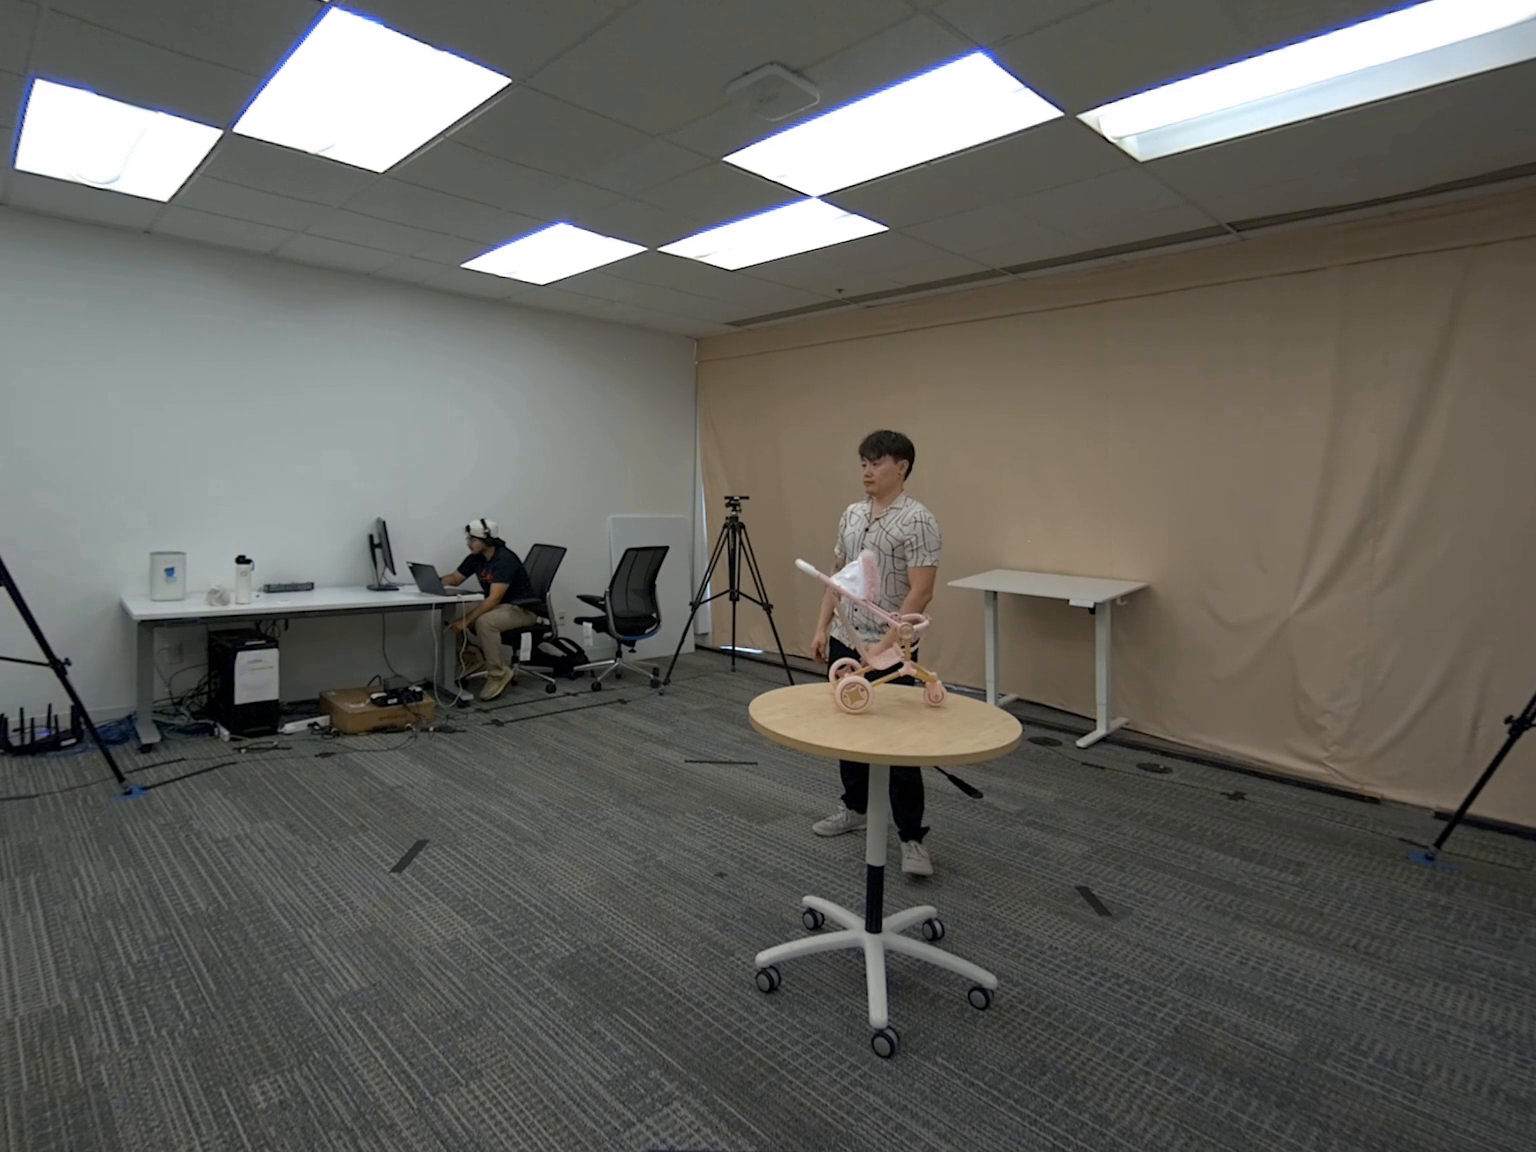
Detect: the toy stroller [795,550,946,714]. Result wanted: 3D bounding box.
[{"bbox_3d":[0.312,0.164,2.505,0.343,0.534,0.280,-15,2,7],"label":"toy stroller"}]
